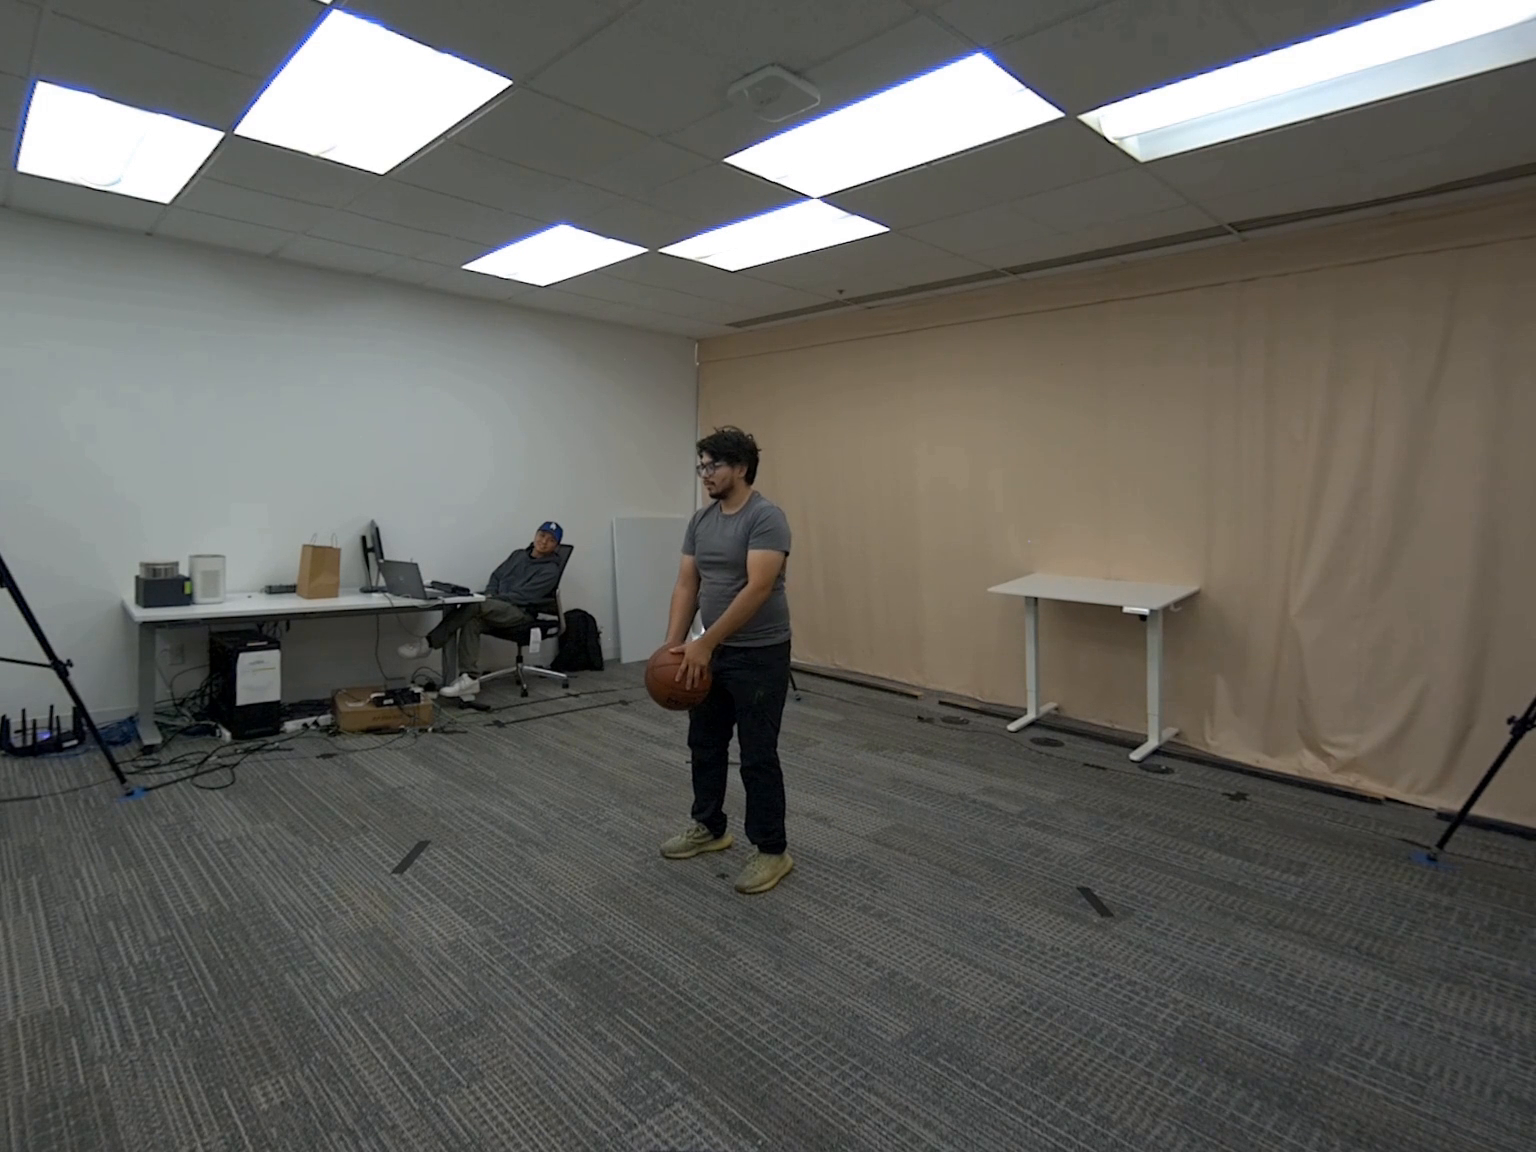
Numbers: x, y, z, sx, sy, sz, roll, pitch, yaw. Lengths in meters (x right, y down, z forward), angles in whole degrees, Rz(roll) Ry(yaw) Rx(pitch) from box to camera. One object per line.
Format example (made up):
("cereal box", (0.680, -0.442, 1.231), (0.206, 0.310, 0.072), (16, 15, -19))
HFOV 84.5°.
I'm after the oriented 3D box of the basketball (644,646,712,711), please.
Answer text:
("basketball", (-0.331, 0.348, 2.953), (0.236, 0.235, 0.237), (1, 4, -1))
